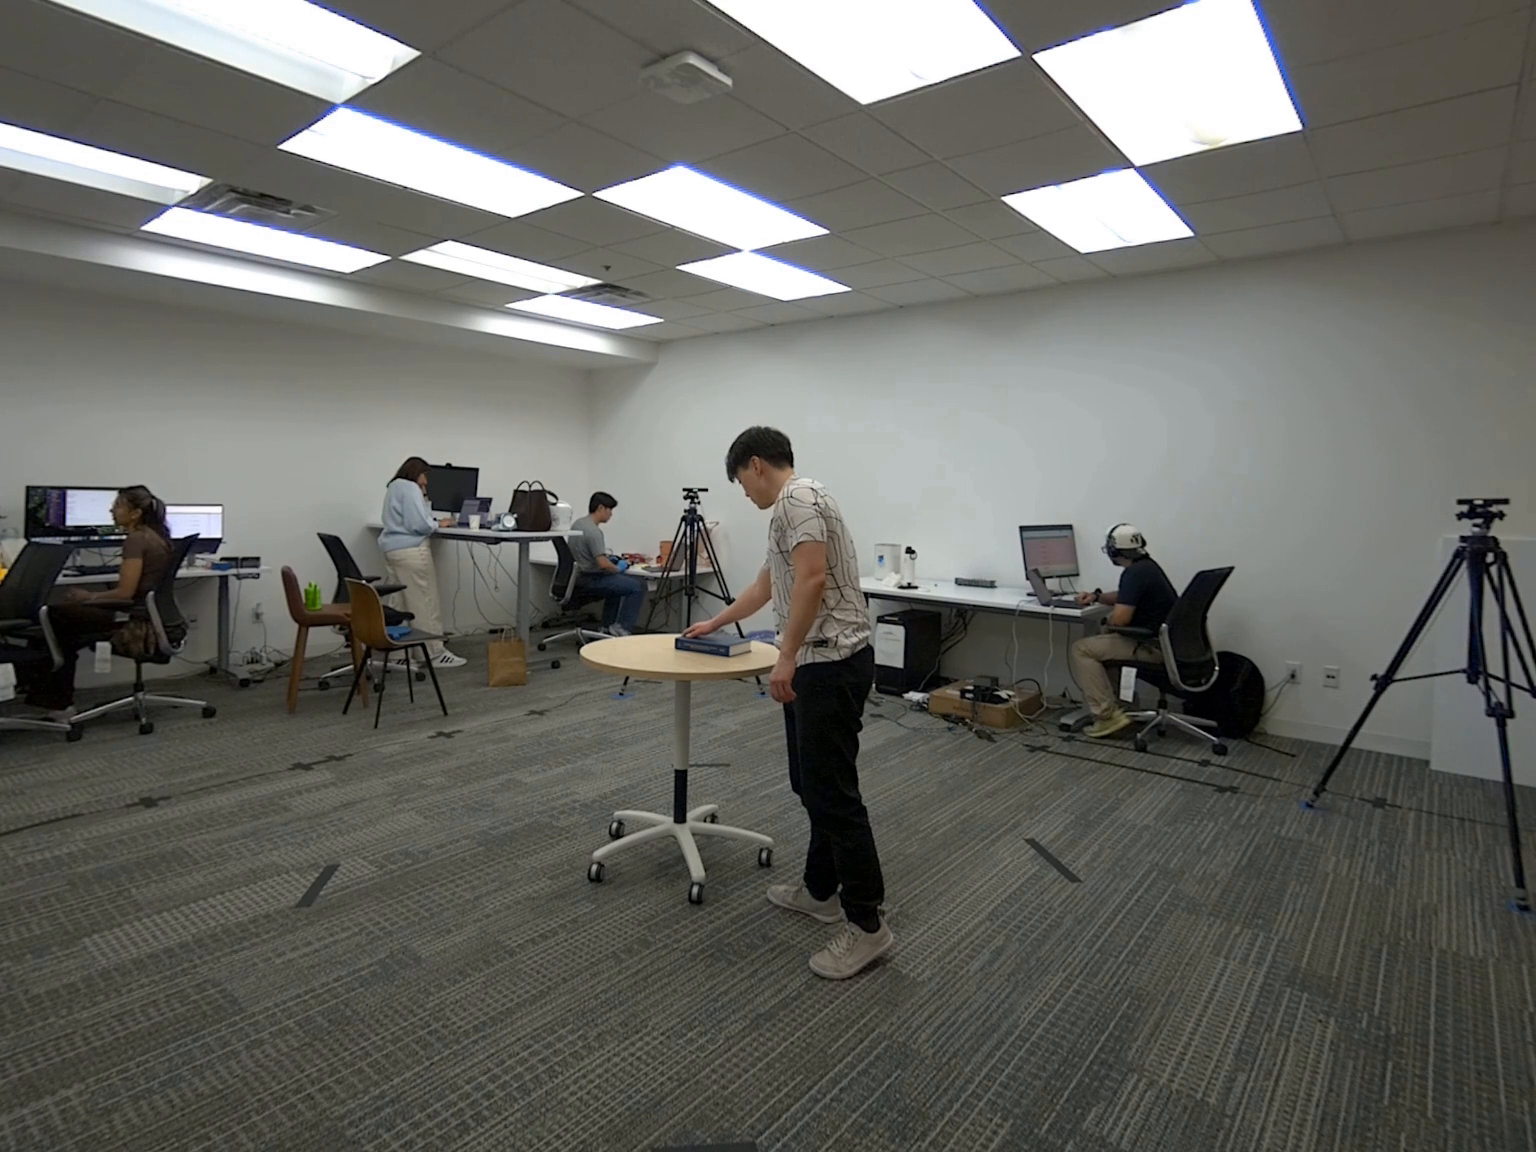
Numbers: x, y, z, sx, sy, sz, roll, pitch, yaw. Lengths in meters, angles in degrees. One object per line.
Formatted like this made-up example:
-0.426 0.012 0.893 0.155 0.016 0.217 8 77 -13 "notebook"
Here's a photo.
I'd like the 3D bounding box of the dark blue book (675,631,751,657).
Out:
-0.209 0.256 3.199 0.252 0.045 0.159 4 6 31 "dark blue book"
